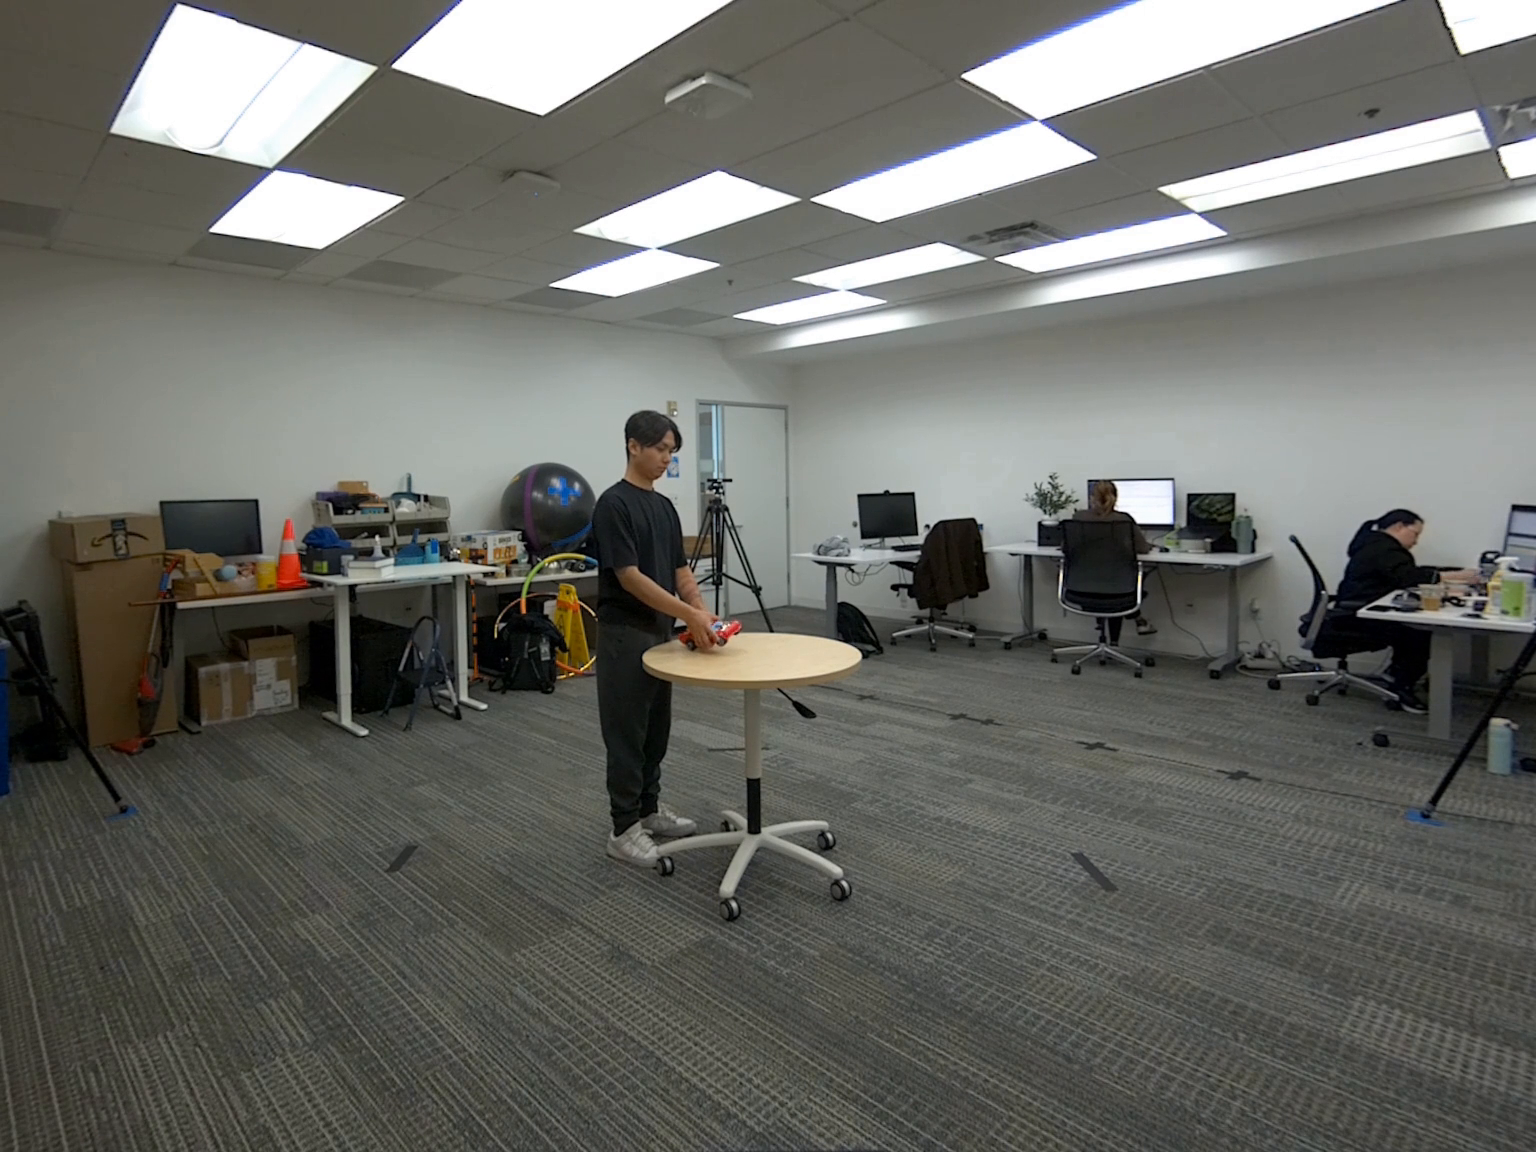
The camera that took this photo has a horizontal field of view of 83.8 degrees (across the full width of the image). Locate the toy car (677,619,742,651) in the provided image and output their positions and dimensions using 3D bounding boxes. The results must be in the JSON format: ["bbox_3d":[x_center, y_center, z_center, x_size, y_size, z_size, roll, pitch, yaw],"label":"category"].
[{"bbox_3d":[-0.218,0.211,3.061,0.261,0.082,0.128,-1,18,38],"label":"toy car"}]
